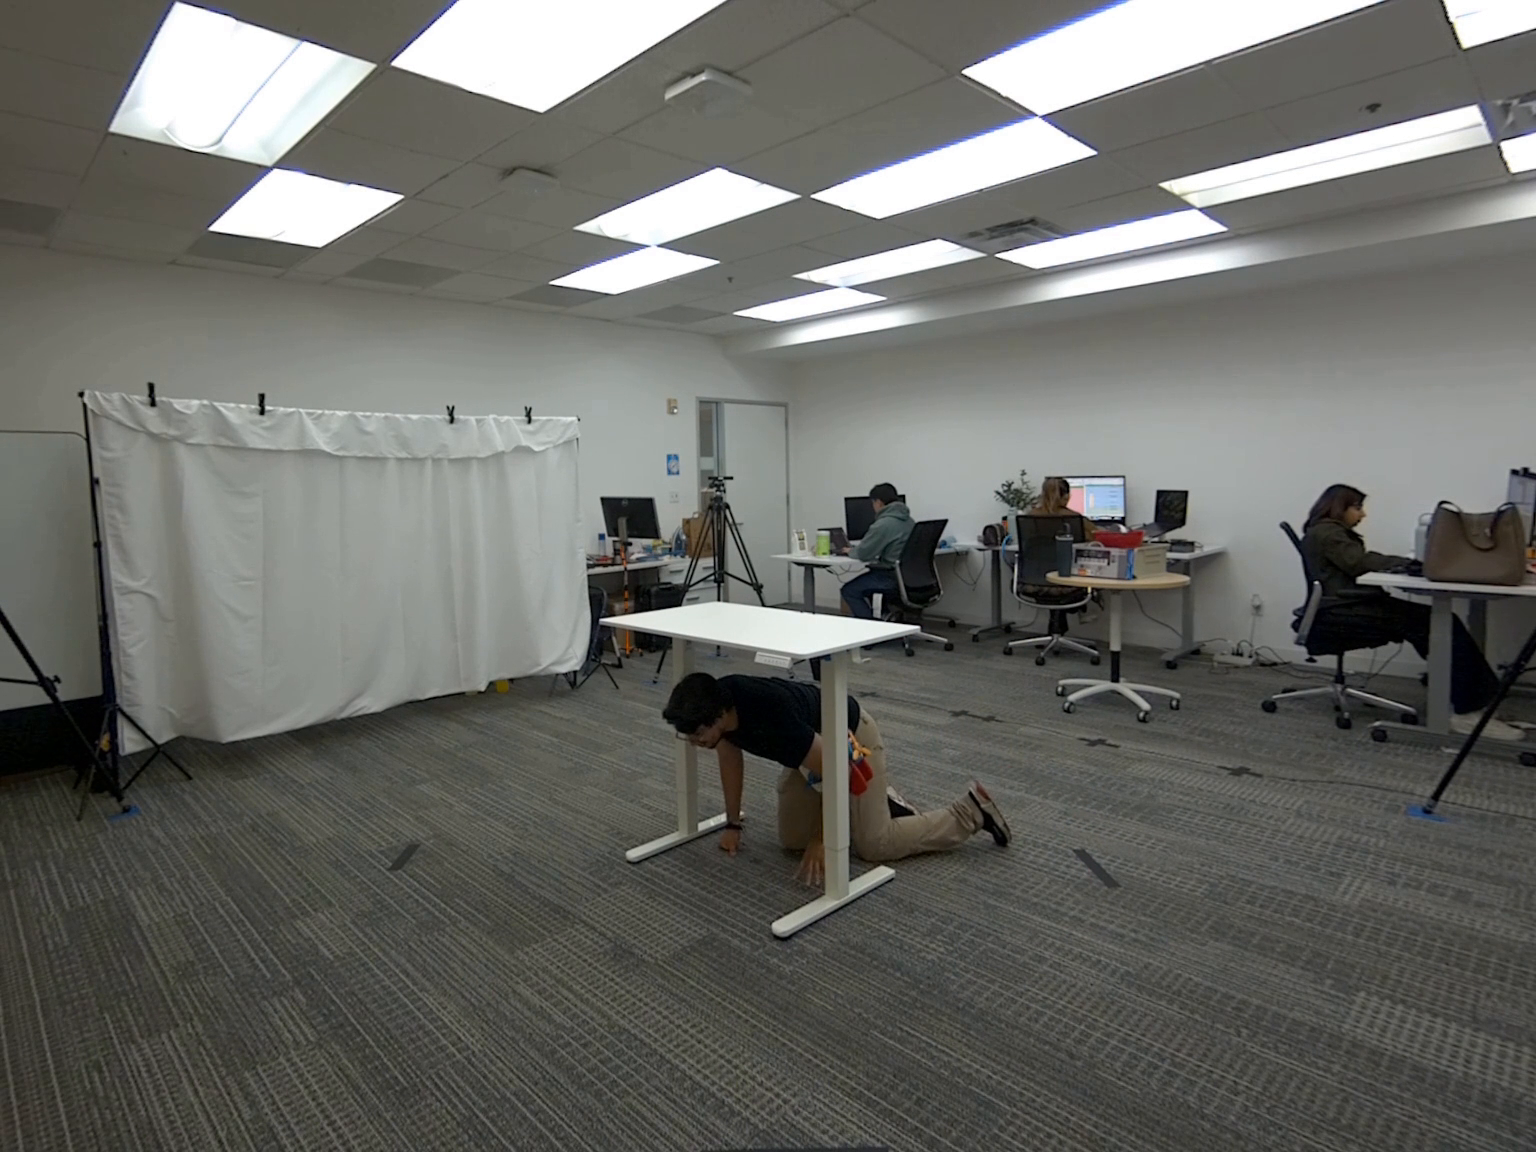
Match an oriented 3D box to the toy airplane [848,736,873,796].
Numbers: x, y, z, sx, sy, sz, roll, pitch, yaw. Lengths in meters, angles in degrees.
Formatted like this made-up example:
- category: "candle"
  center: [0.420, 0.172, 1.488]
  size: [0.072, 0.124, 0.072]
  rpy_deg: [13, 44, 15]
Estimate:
- category: "toy airplane"
  center: [0.237, 0.679, 3.031]
  size: [0.255, 0.257, 0.155]
  rpy_deg: [22, 12, 11]
